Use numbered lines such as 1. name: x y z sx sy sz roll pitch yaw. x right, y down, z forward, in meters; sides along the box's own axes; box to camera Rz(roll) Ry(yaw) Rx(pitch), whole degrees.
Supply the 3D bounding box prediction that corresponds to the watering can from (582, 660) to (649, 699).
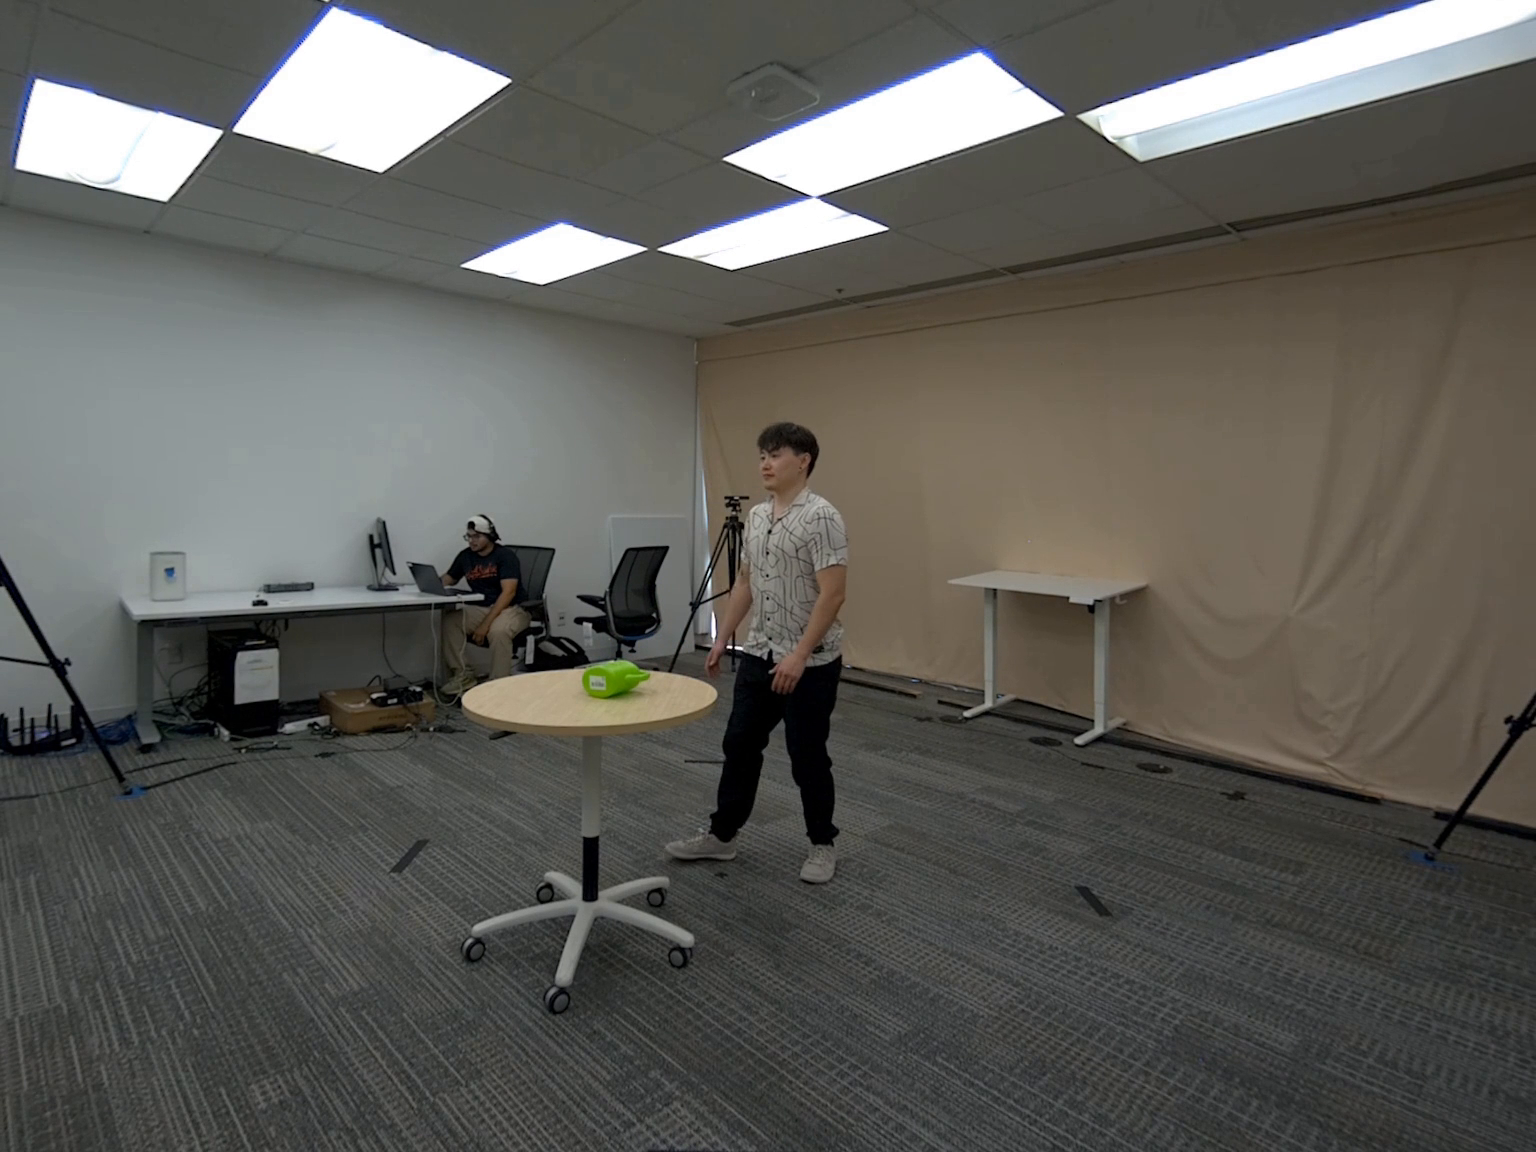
1. watering can: -0.510 0.324 2.603 0.282 0.098 0.173 -15 -4 30
